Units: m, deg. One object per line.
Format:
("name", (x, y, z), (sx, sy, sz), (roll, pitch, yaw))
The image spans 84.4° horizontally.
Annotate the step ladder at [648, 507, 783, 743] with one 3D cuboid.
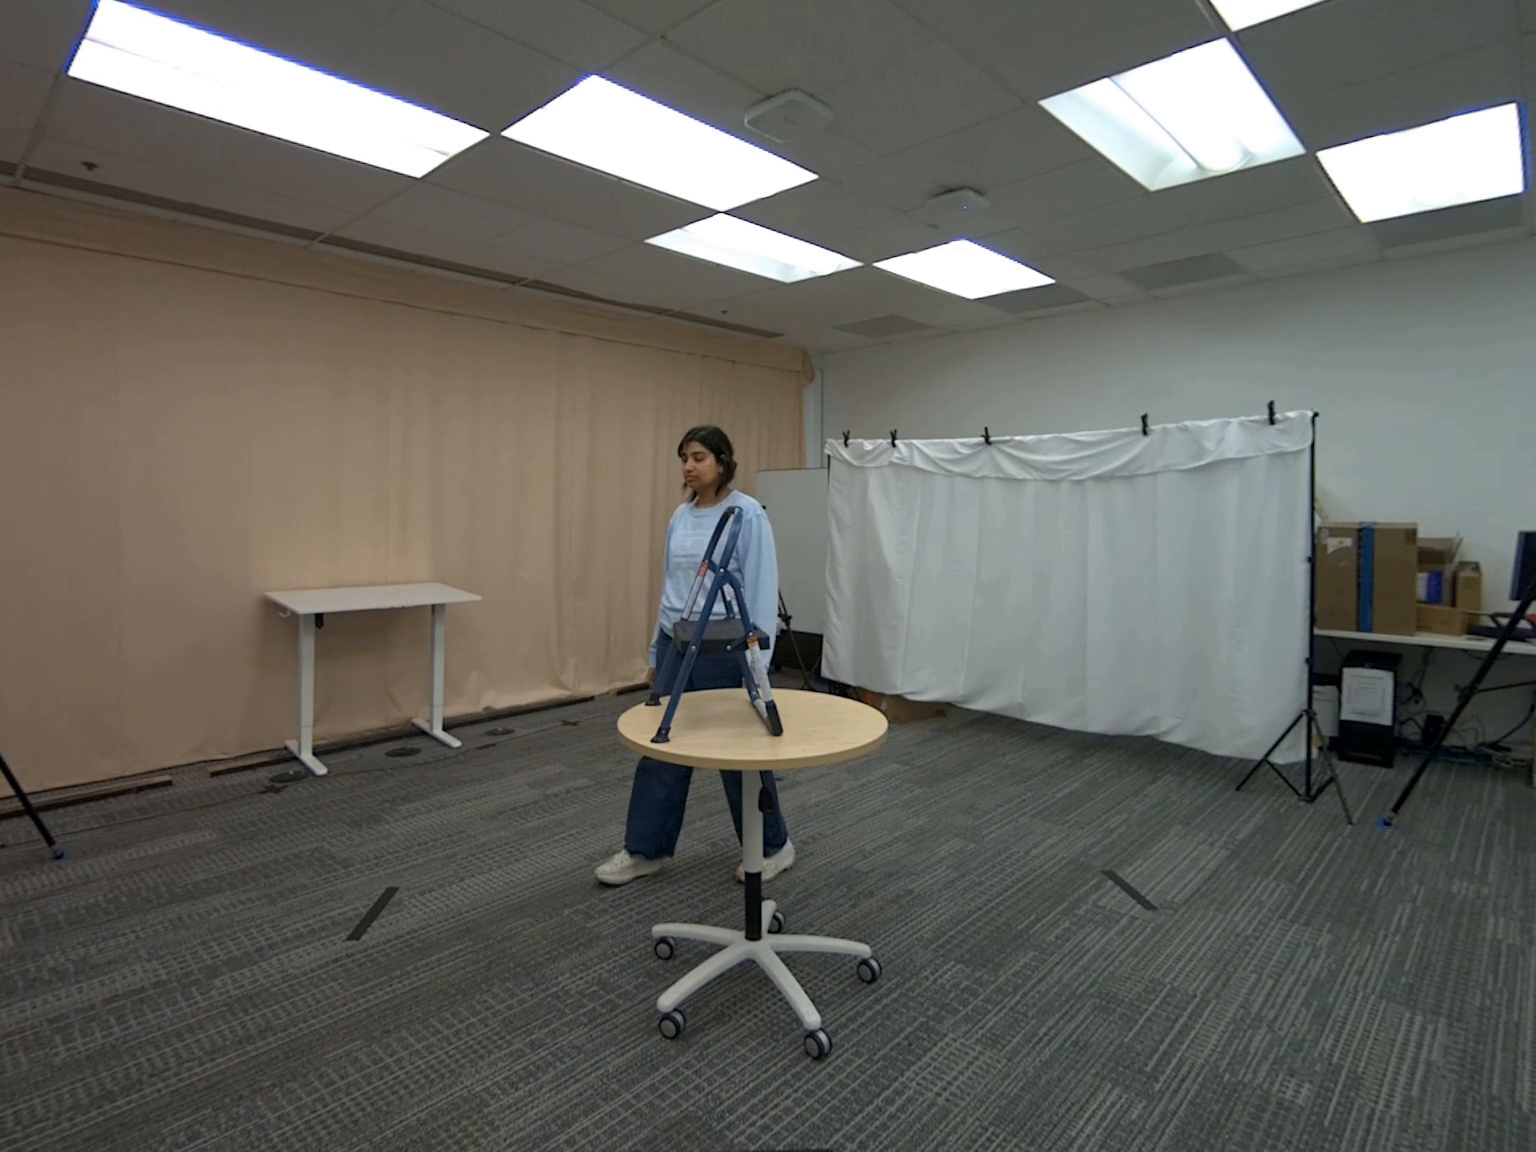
("step ladder", (-0.160, 0.108, 2.387), (0.346, 0.604, 0.436), (-2, 4, -10))
